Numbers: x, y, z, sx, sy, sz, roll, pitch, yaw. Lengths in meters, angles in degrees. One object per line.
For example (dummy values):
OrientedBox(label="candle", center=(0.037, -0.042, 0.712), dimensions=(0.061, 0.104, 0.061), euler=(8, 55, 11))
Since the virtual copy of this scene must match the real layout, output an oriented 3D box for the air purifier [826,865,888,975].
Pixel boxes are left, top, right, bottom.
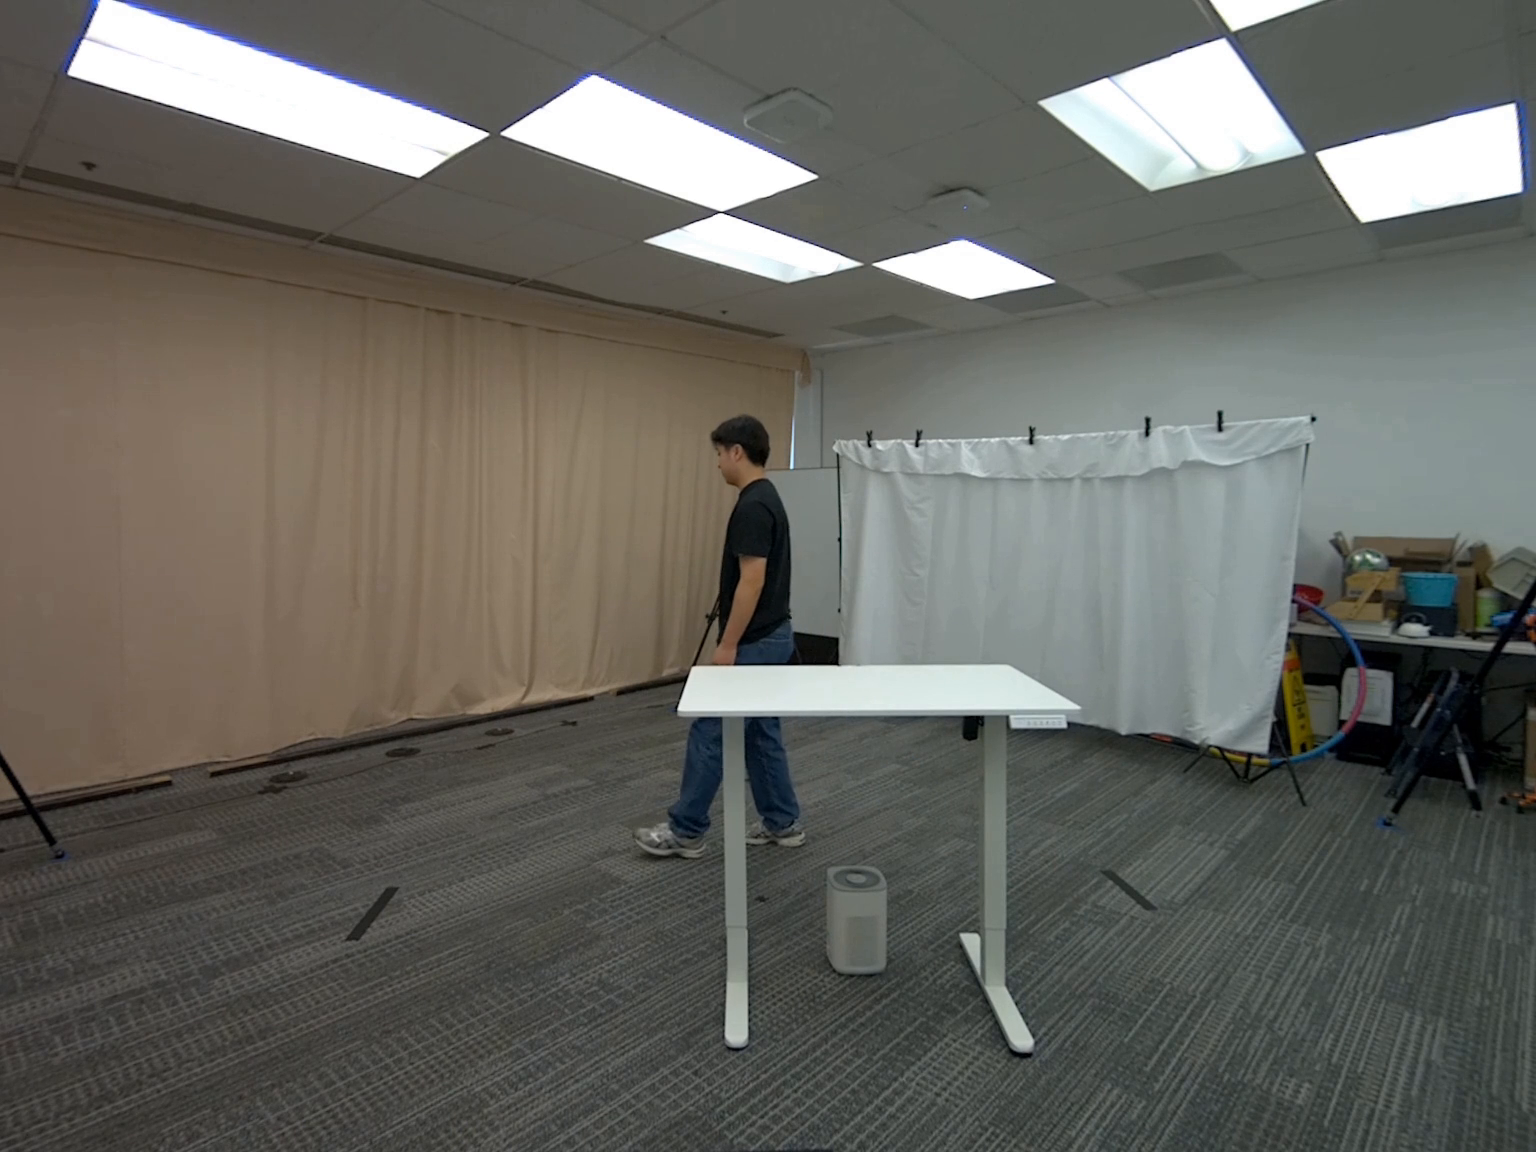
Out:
OrientedBox(label="air purifier", center=(0.270, 1.043, 2.562), dimensions=(0.171, 0.265, 0.172), euler=(1, 3, -5))
